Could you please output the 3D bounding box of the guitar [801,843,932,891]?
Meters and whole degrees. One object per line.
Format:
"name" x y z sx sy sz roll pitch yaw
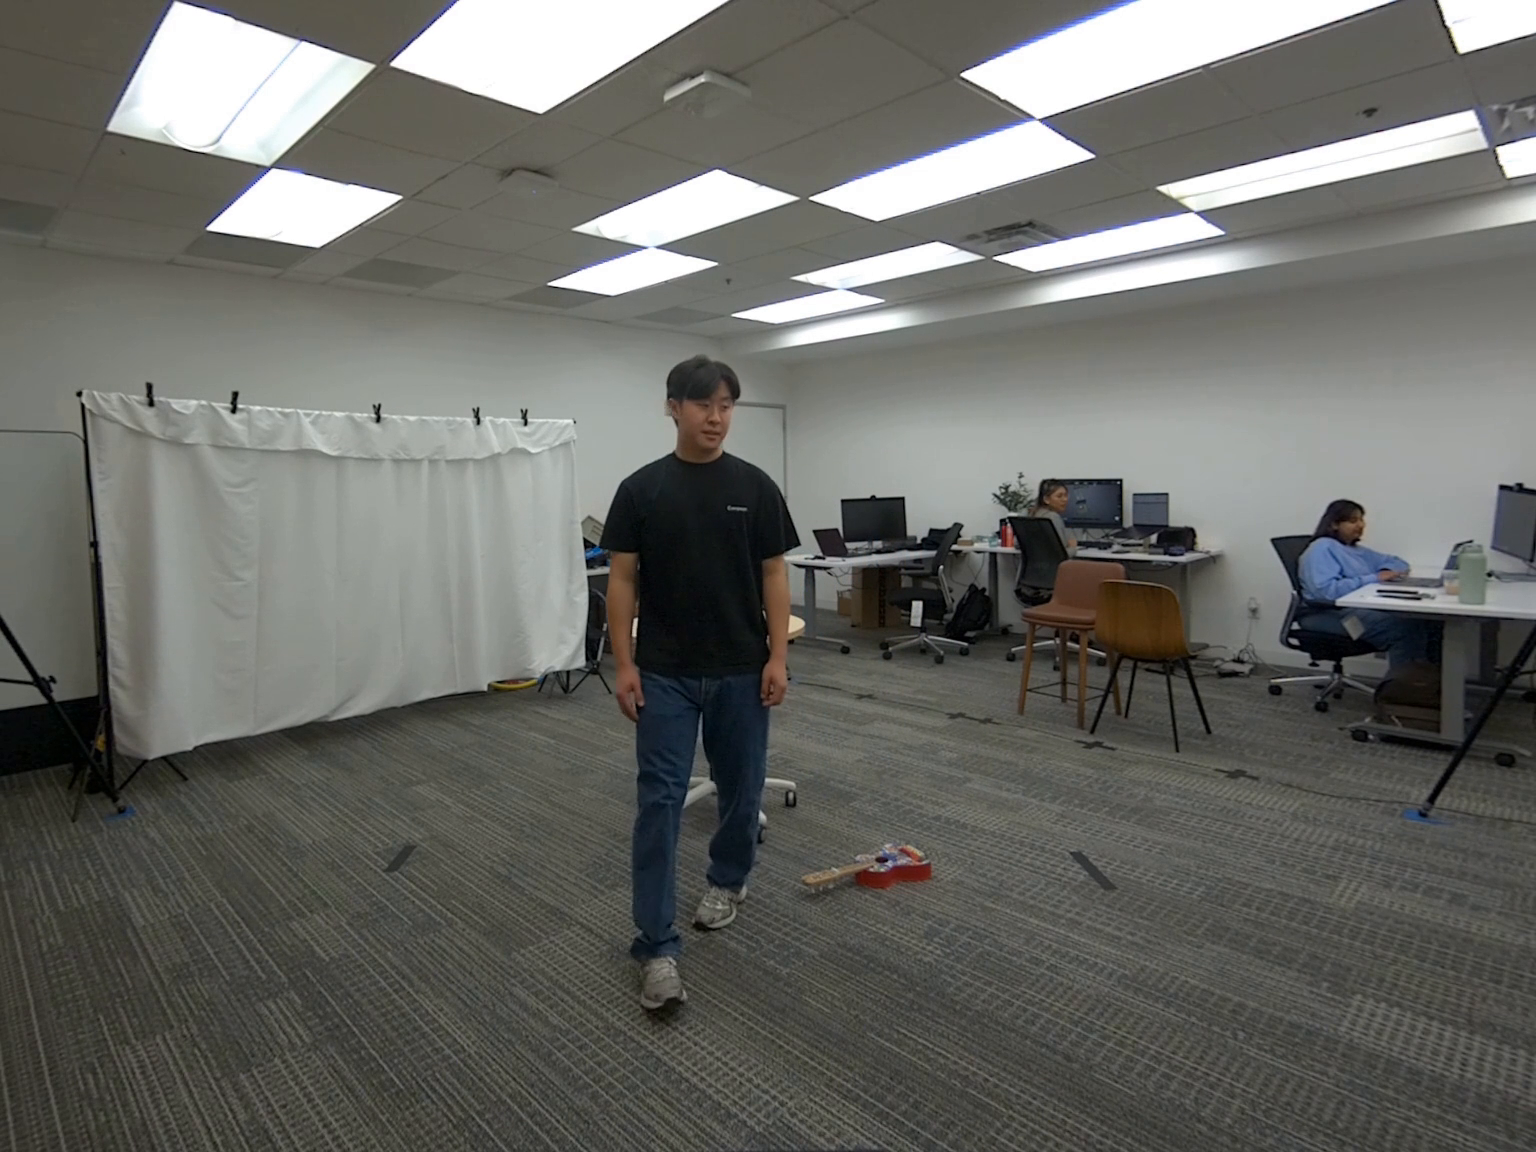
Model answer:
"guitar" 0.326 1.018 2.971 0.489 0.070 0.197 -3 7 -19
